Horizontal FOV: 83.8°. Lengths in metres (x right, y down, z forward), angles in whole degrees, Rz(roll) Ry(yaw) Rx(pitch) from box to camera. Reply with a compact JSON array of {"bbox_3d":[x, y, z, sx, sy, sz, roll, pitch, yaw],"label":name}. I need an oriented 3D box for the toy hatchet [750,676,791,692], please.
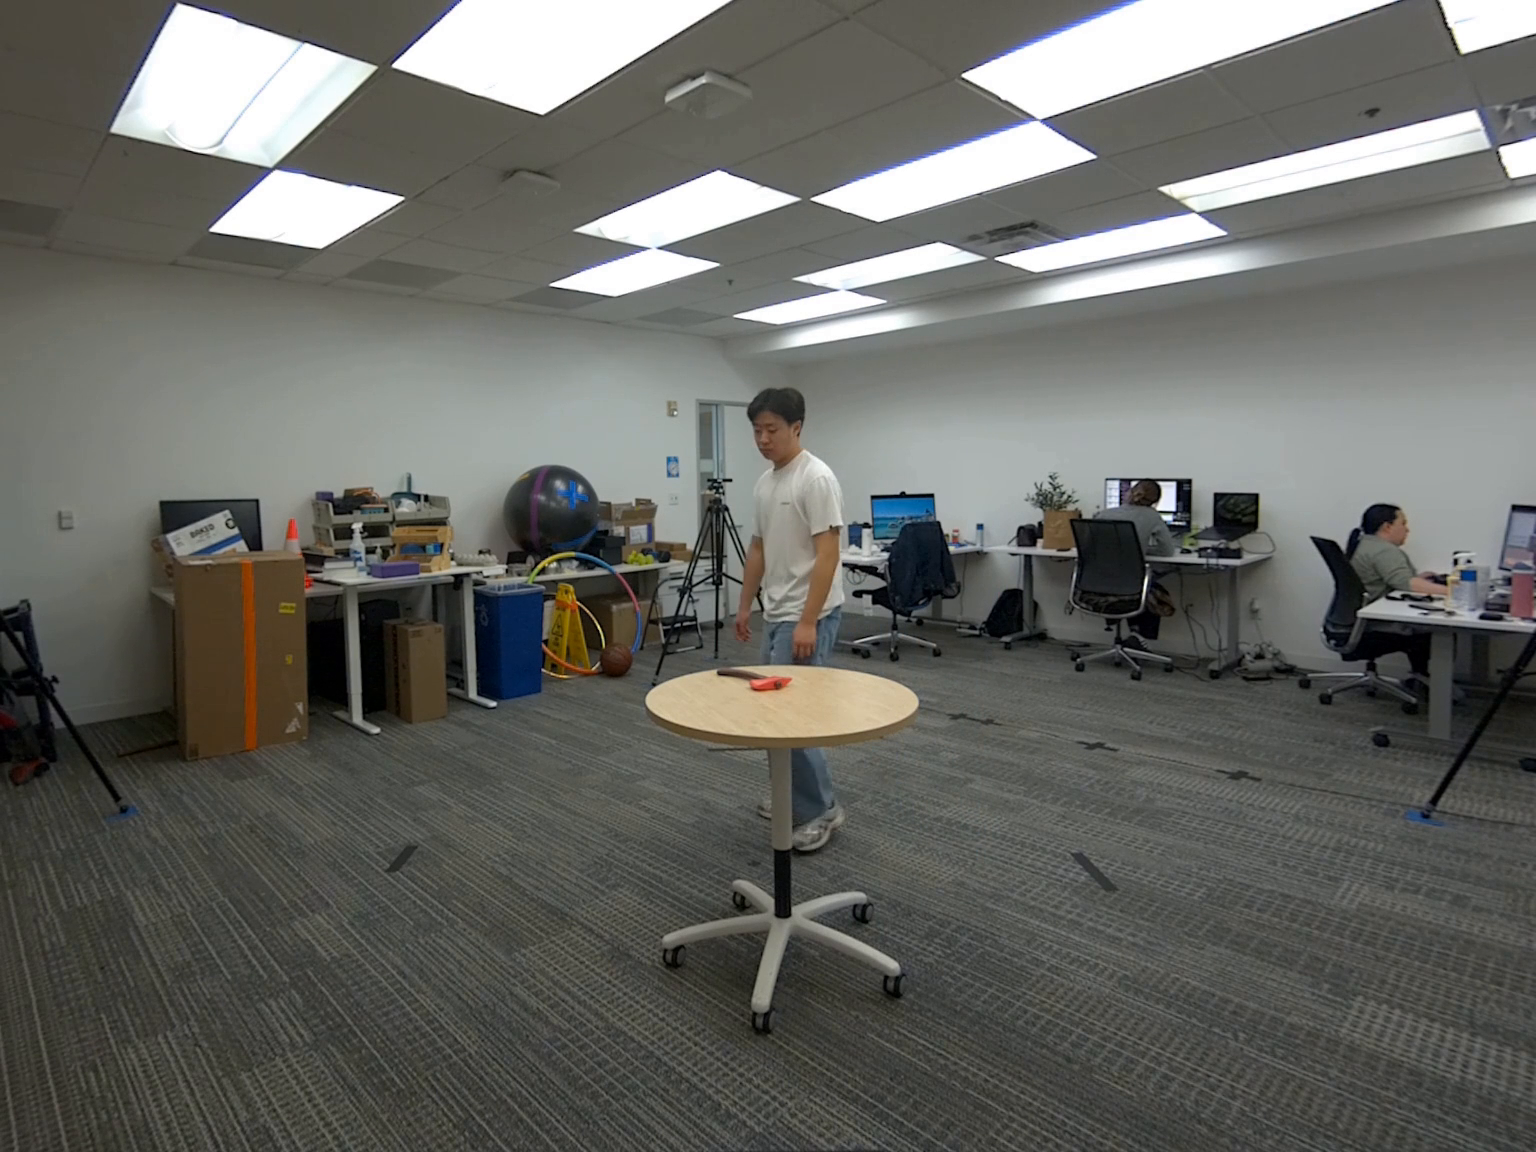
[{"bbox_3d":[-0.063,0.314,2.577,0.278,0.029,0.128,2,11,38],"label":"toy hatchet"}]
